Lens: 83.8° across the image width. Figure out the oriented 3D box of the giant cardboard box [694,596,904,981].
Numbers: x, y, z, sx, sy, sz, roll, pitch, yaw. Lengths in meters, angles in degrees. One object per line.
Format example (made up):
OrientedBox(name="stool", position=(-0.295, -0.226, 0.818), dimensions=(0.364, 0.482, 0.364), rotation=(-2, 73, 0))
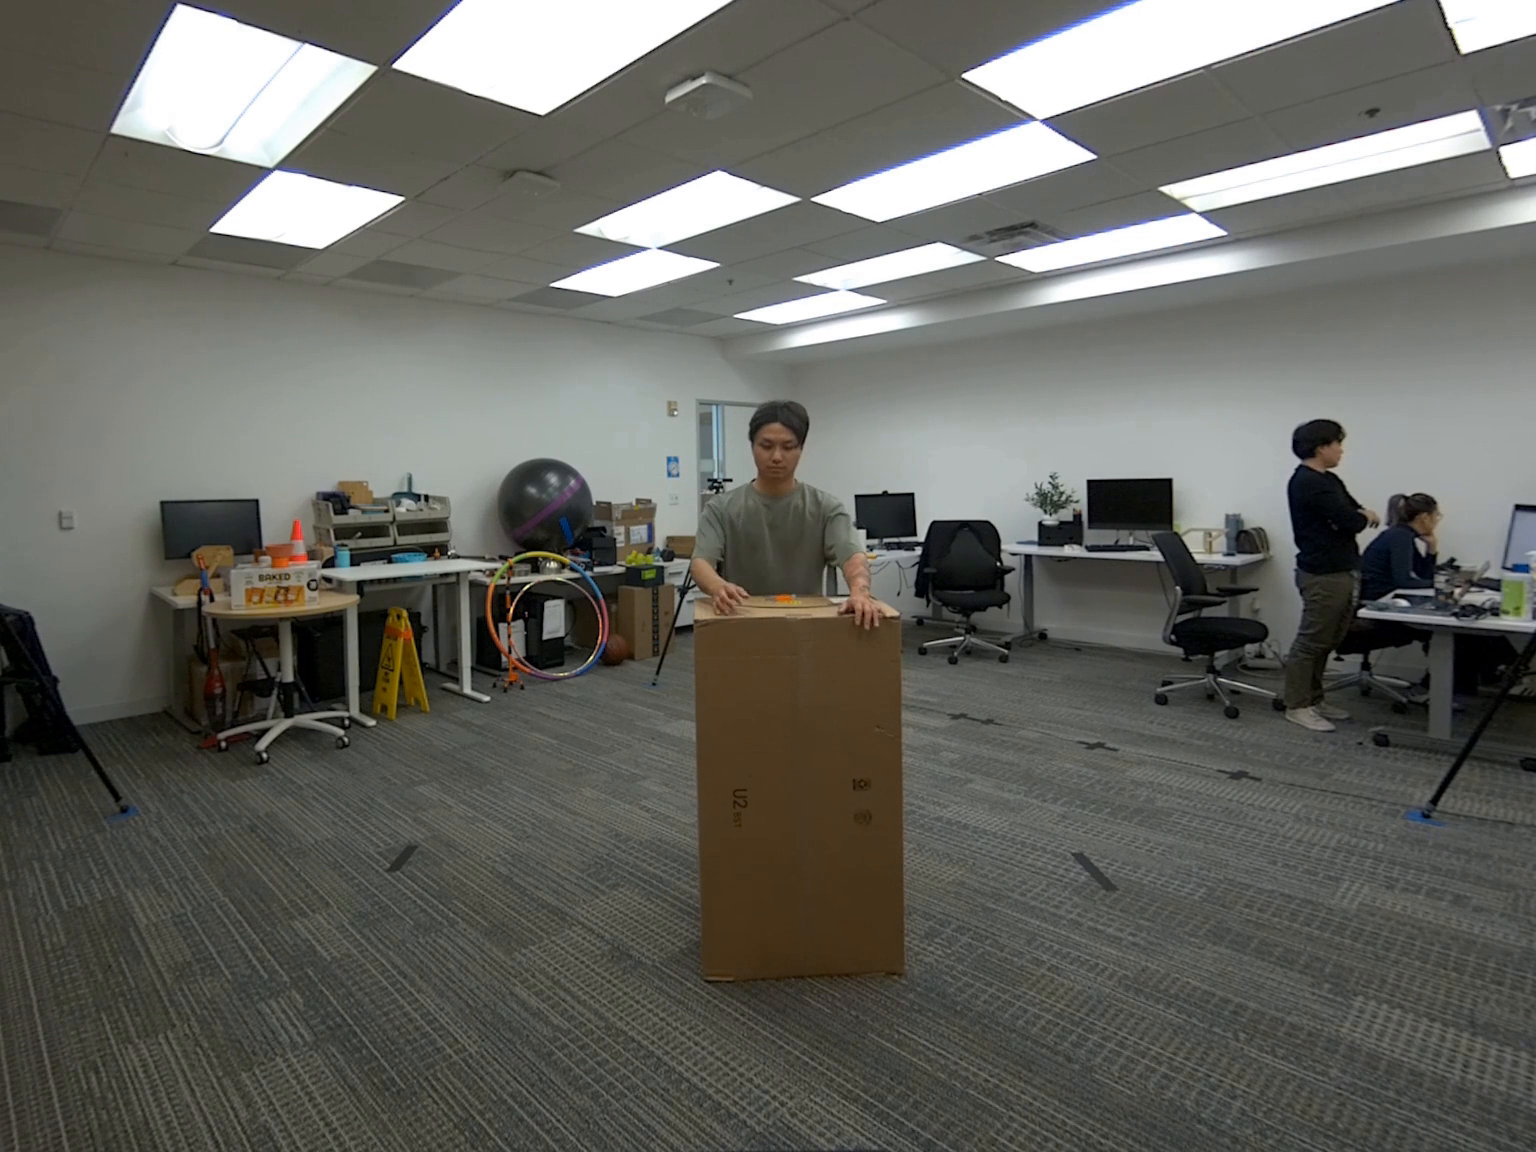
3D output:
OrientedBox(name="giant cardboard box", position=(0.078, 0.594, 2.566), dimensions=(0.576, 1.022, 0.429), rotation=(-2, 4, -4))
